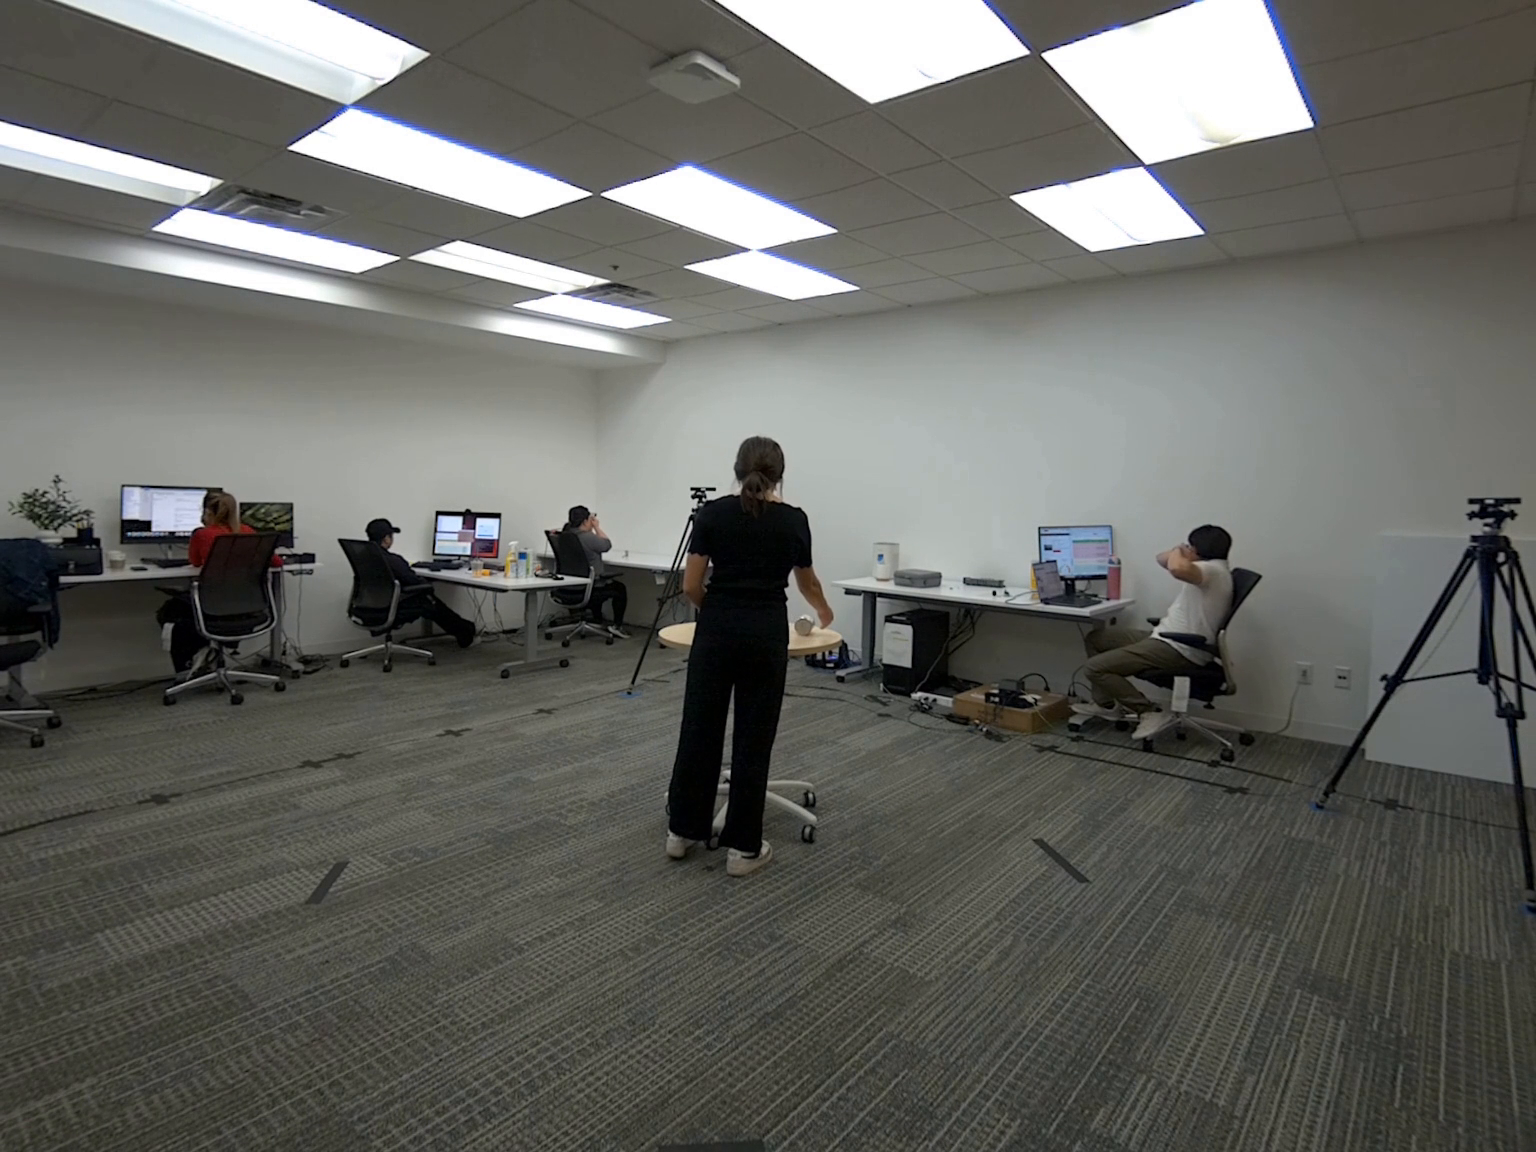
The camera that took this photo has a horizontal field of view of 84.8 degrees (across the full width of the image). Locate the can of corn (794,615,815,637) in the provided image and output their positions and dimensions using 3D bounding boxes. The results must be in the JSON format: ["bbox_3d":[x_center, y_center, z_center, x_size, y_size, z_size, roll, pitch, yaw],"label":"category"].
[{"bbox_3d":[0.146,0.202,3.605,0.075,0.074,0.110,1,3,8],"label":"can of corn"}]
